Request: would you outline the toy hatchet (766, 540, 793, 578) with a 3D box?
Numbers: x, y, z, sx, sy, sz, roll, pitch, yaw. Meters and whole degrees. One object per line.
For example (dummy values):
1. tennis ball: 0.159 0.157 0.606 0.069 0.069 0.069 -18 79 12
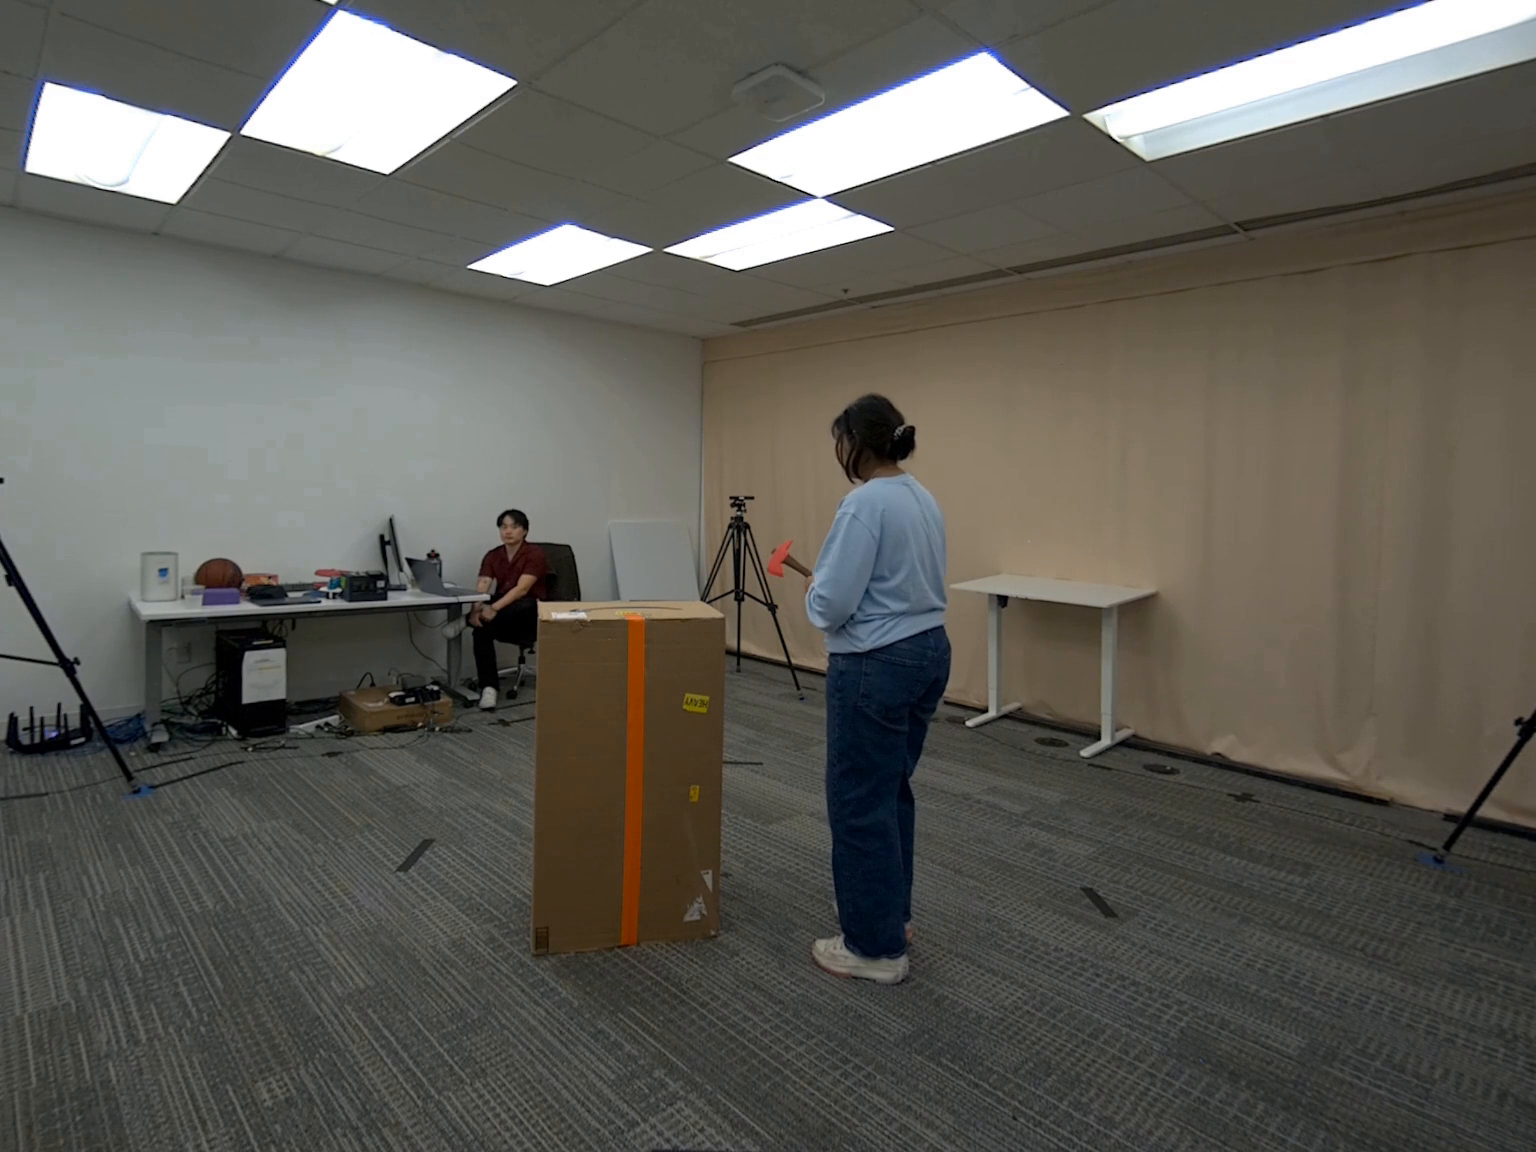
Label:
1. toy hatchet: 0.118 0.009 2.684 0.131 0.275 0.029 -35 -19 -5
